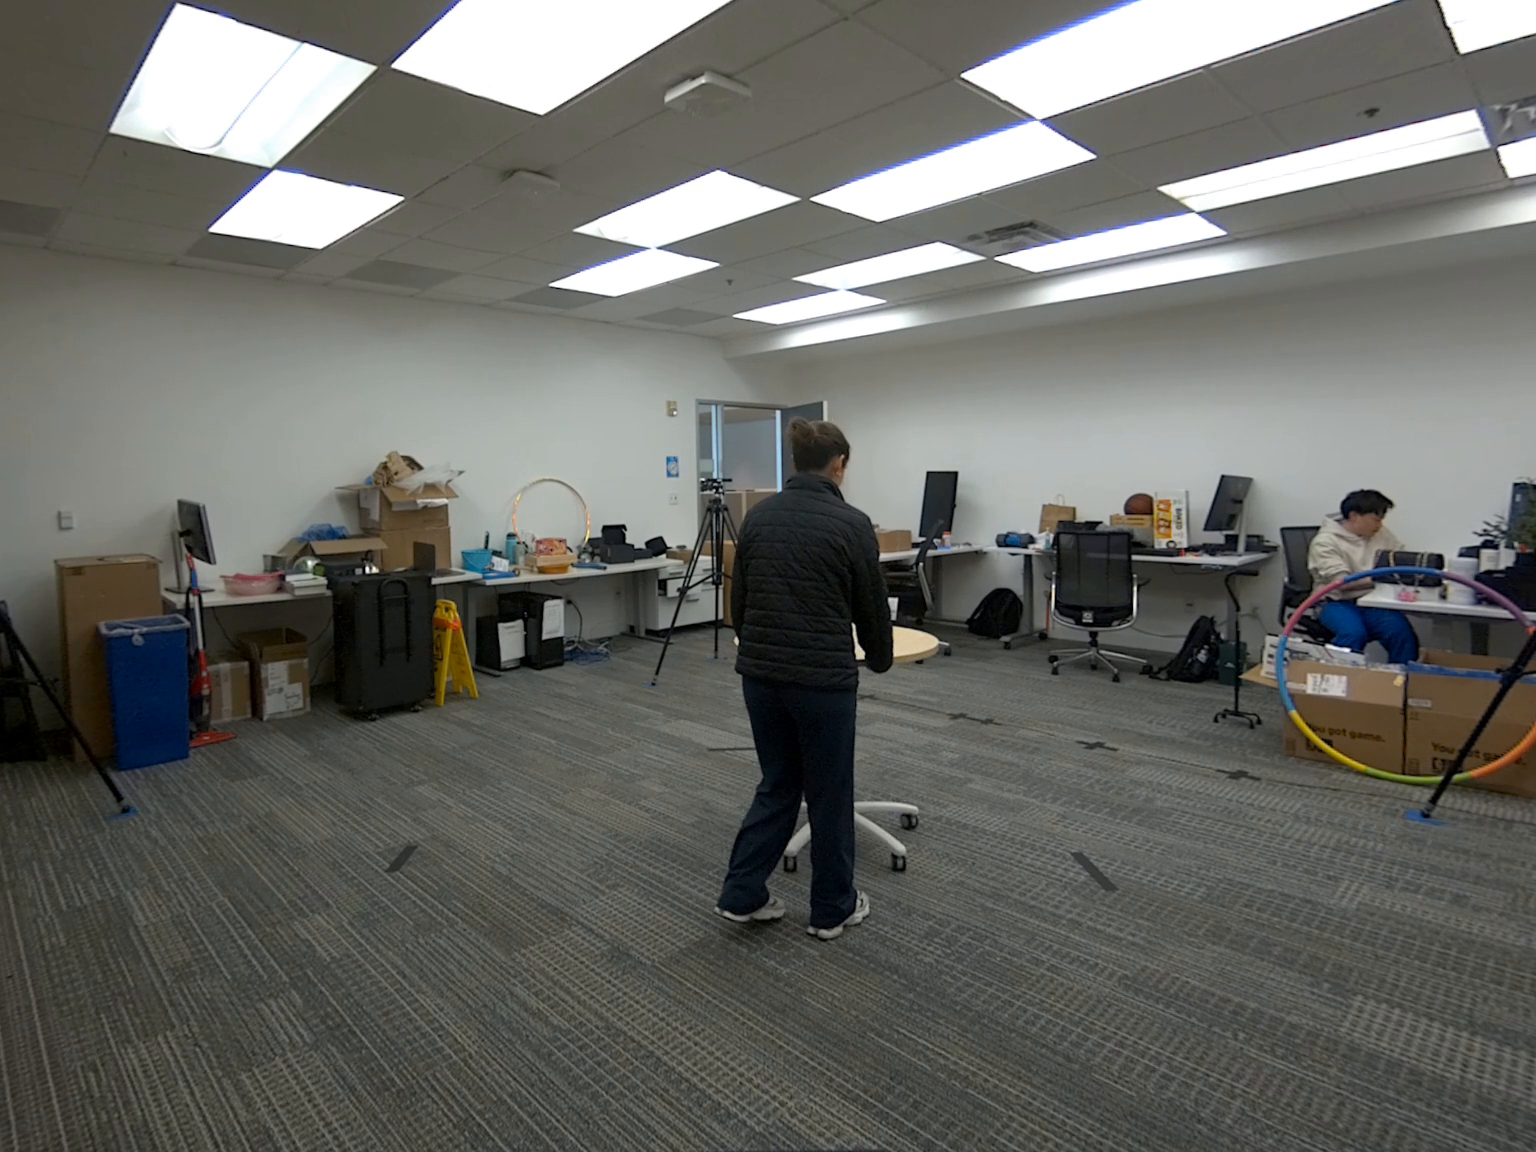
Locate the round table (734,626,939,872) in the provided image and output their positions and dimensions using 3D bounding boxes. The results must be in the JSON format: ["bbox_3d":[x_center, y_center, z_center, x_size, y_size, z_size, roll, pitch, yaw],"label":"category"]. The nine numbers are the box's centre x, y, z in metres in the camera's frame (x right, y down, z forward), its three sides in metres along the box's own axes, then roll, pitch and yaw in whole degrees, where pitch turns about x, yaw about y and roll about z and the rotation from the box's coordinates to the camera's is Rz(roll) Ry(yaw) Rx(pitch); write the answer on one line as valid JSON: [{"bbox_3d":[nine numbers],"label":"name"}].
[{"bbox_3d":[0.246,0.626,3.280,0.784,0.783,0.789,-1,5,-2],"label":"round table"}]
